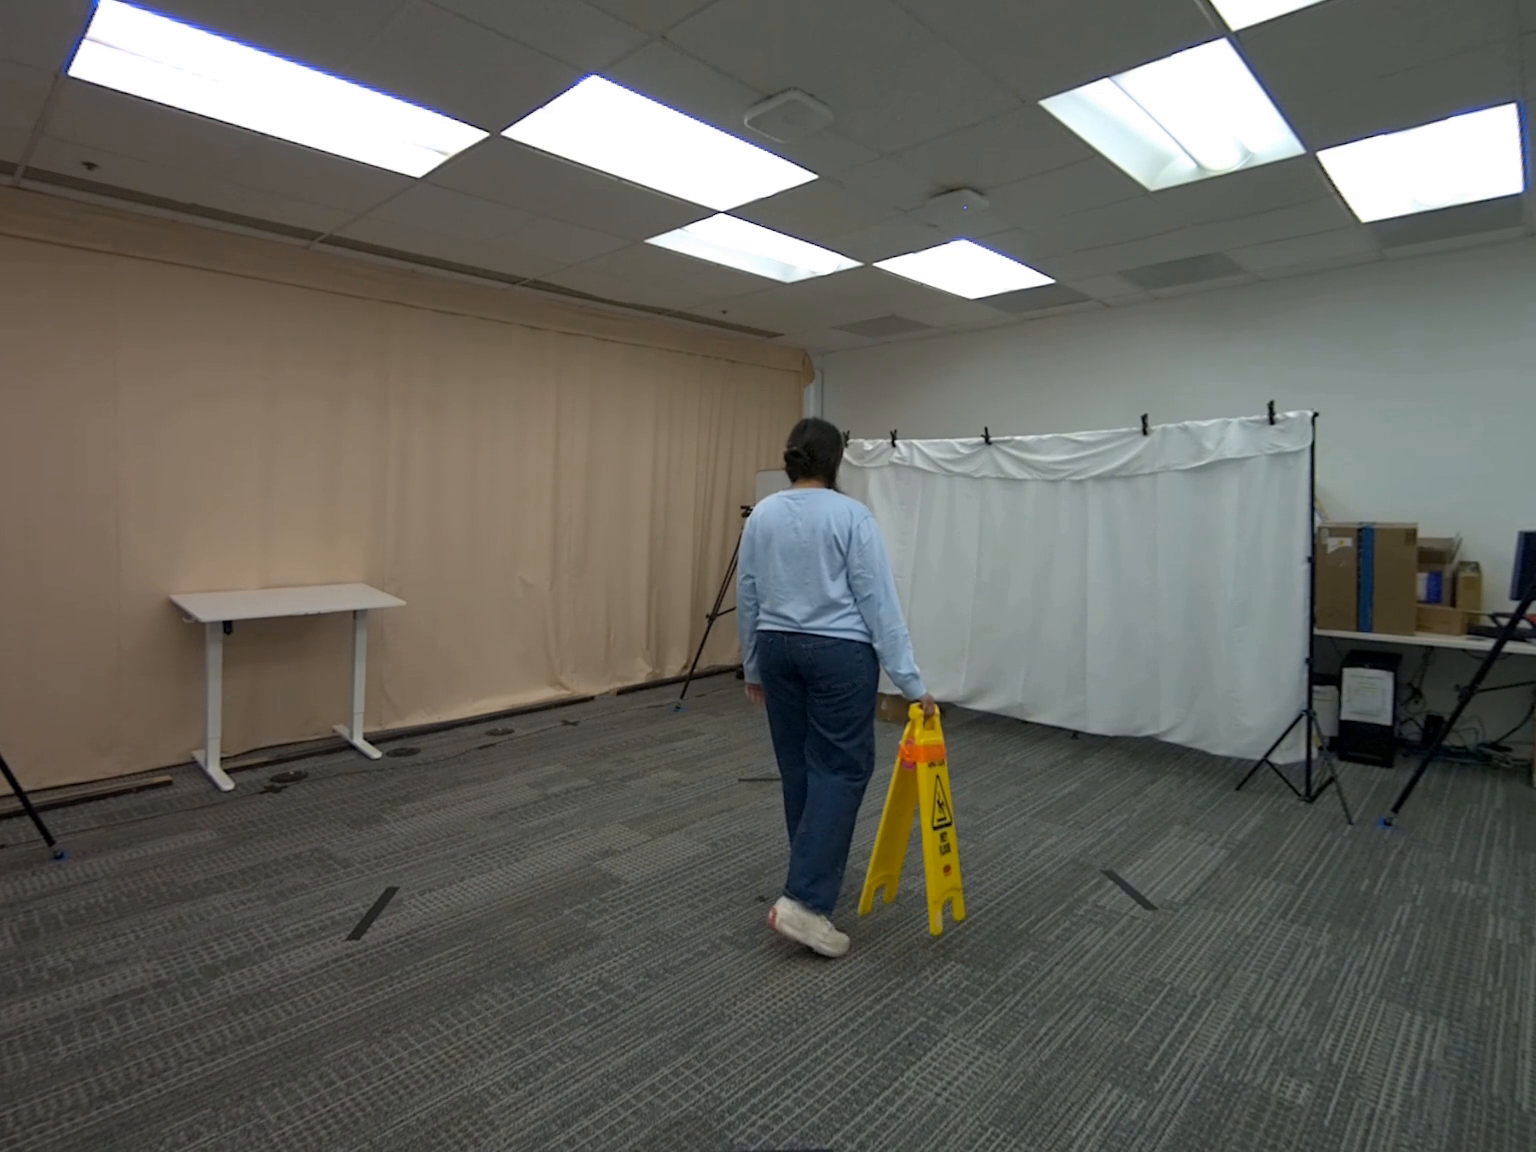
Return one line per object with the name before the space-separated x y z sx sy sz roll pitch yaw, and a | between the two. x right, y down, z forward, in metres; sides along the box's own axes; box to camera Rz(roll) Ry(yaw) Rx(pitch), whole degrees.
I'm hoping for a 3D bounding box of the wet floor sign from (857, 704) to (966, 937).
wet floor sign | 0.477 0.734 2.644 0.298 0.648 0.273 1 -8 33
